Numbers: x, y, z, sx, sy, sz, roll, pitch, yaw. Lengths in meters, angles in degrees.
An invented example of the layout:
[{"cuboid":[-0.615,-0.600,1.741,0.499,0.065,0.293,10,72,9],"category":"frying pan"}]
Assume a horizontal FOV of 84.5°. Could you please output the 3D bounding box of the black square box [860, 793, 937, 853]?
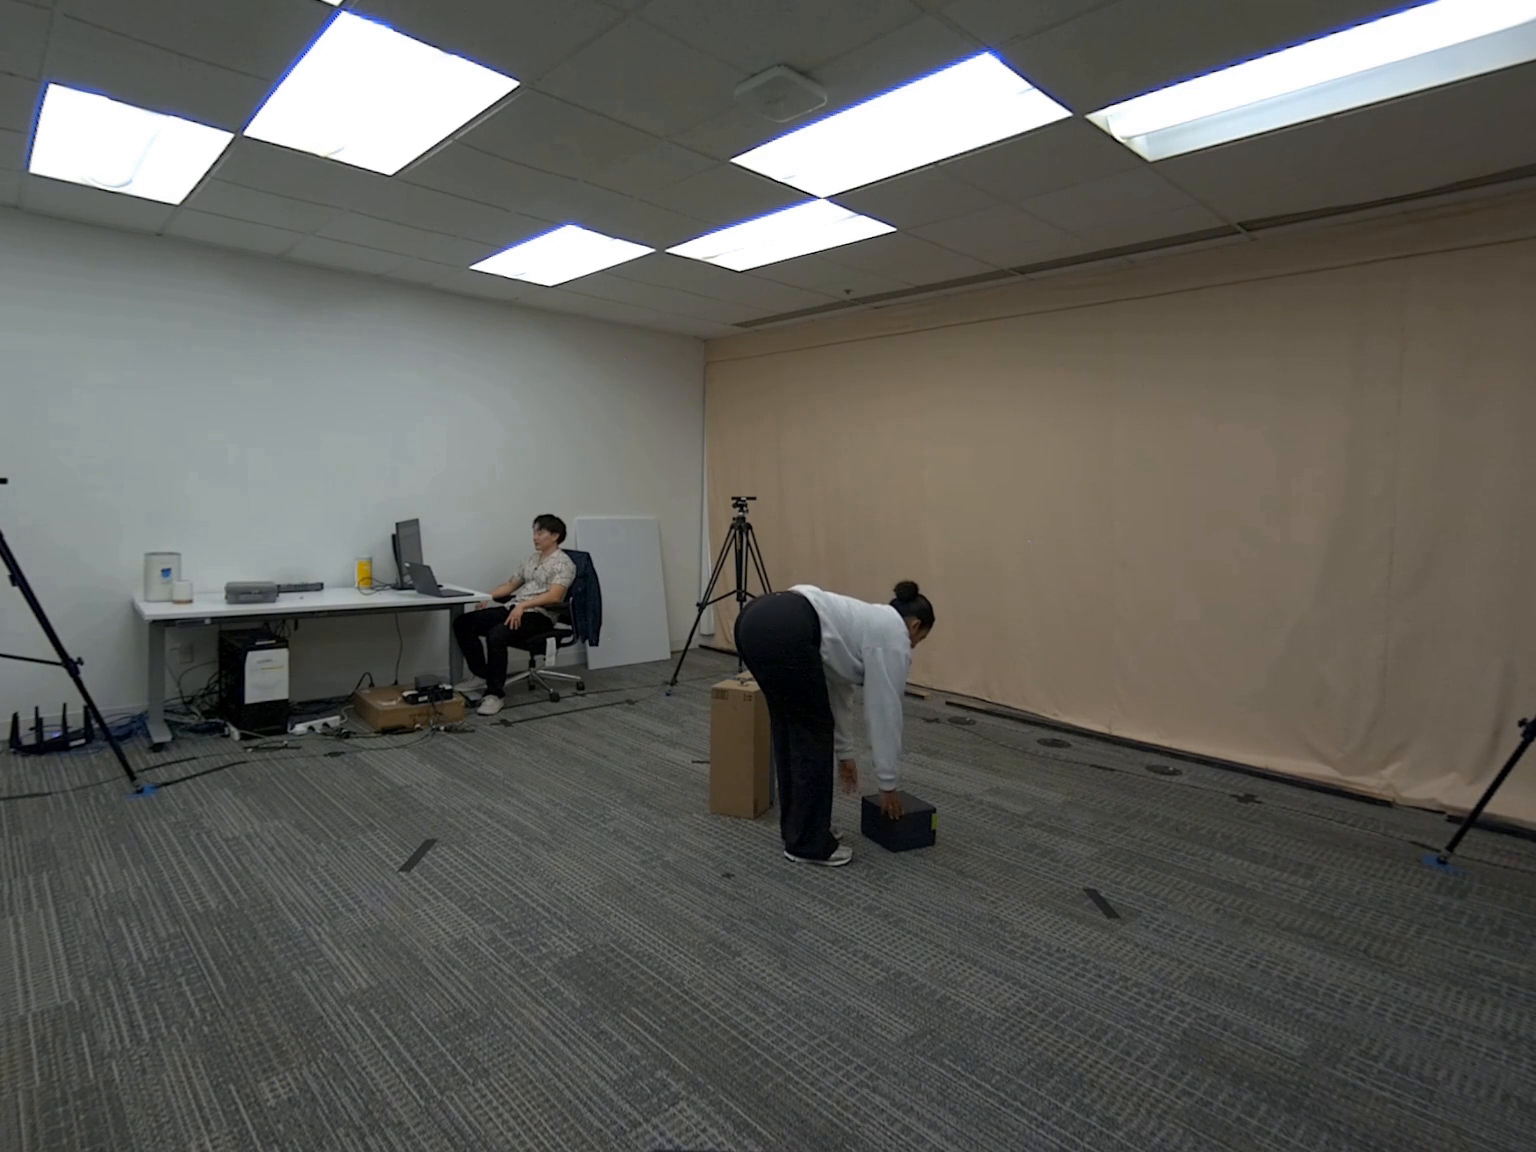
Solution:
[{"cuboid":[0.529,1.004,3.480,0.213,0.155,0.233,0,4,-28],"category":"black square box"}]
